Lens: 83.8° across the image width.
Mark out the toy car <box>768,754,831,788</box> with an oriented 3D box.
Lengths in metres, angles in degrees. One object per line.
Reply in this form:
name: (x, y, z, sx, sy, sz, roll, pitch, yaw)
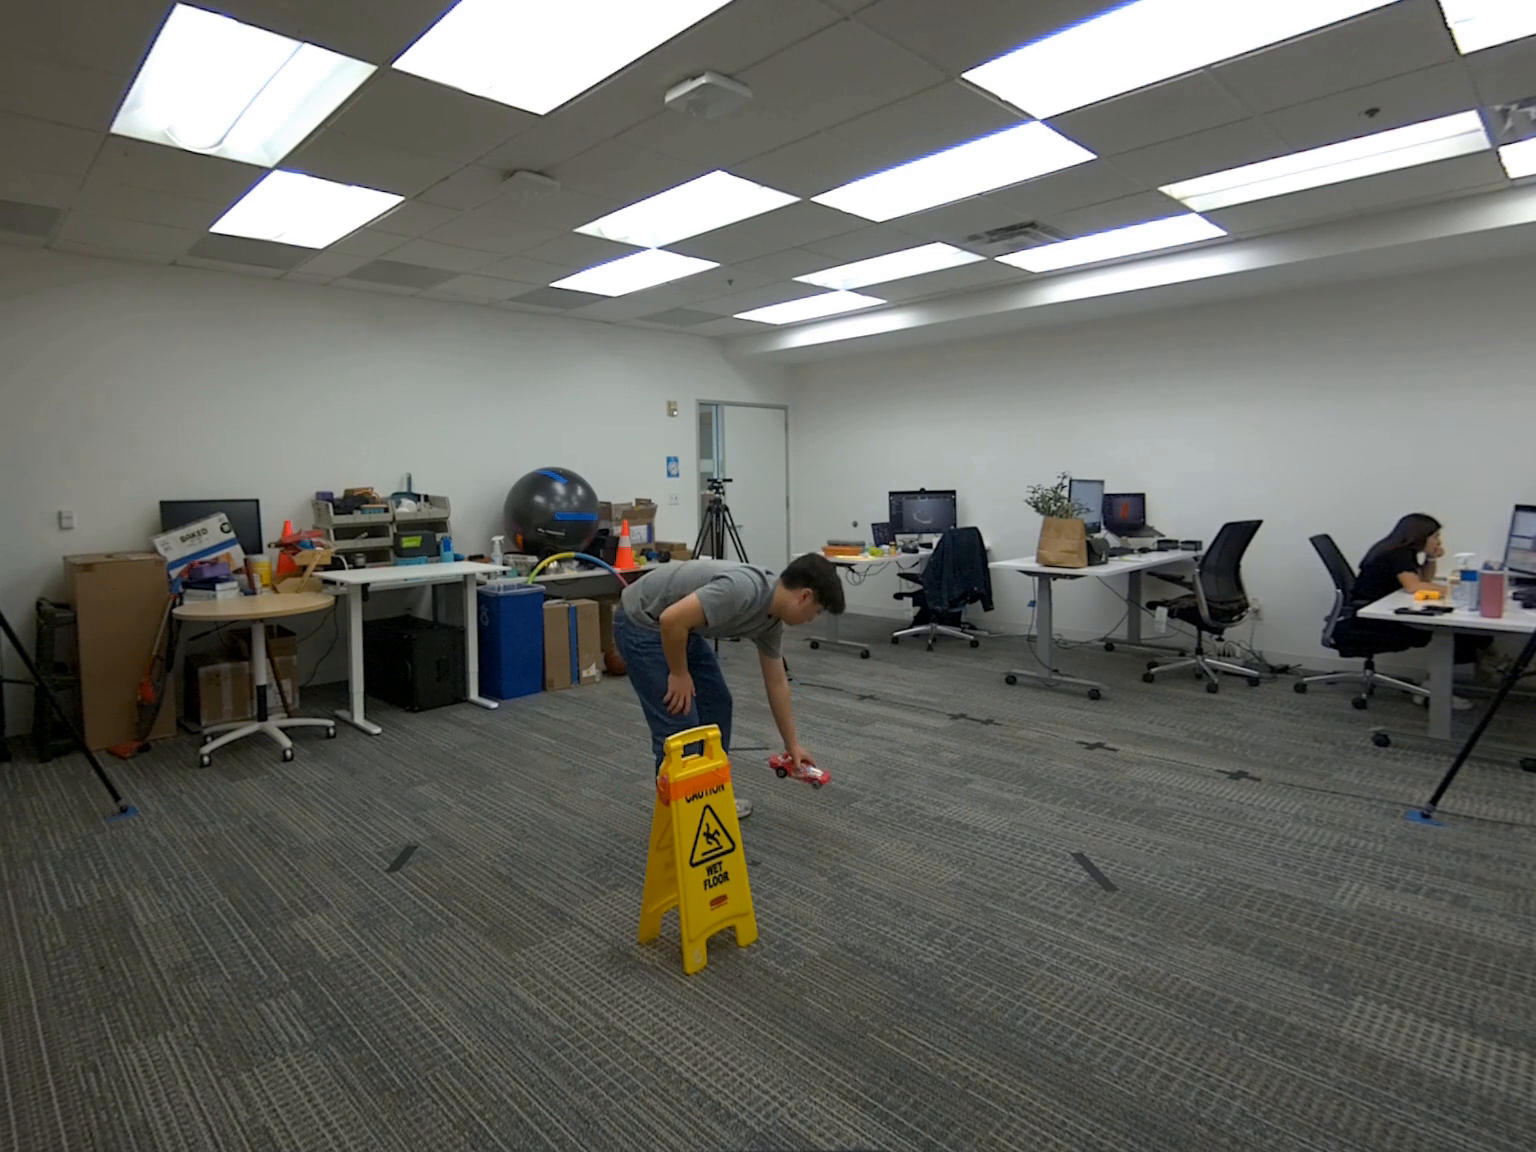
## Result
toy car: (0.118, 0.780, 3.427, 0.261, 0.082, 0.128, 23, 13, 21)
